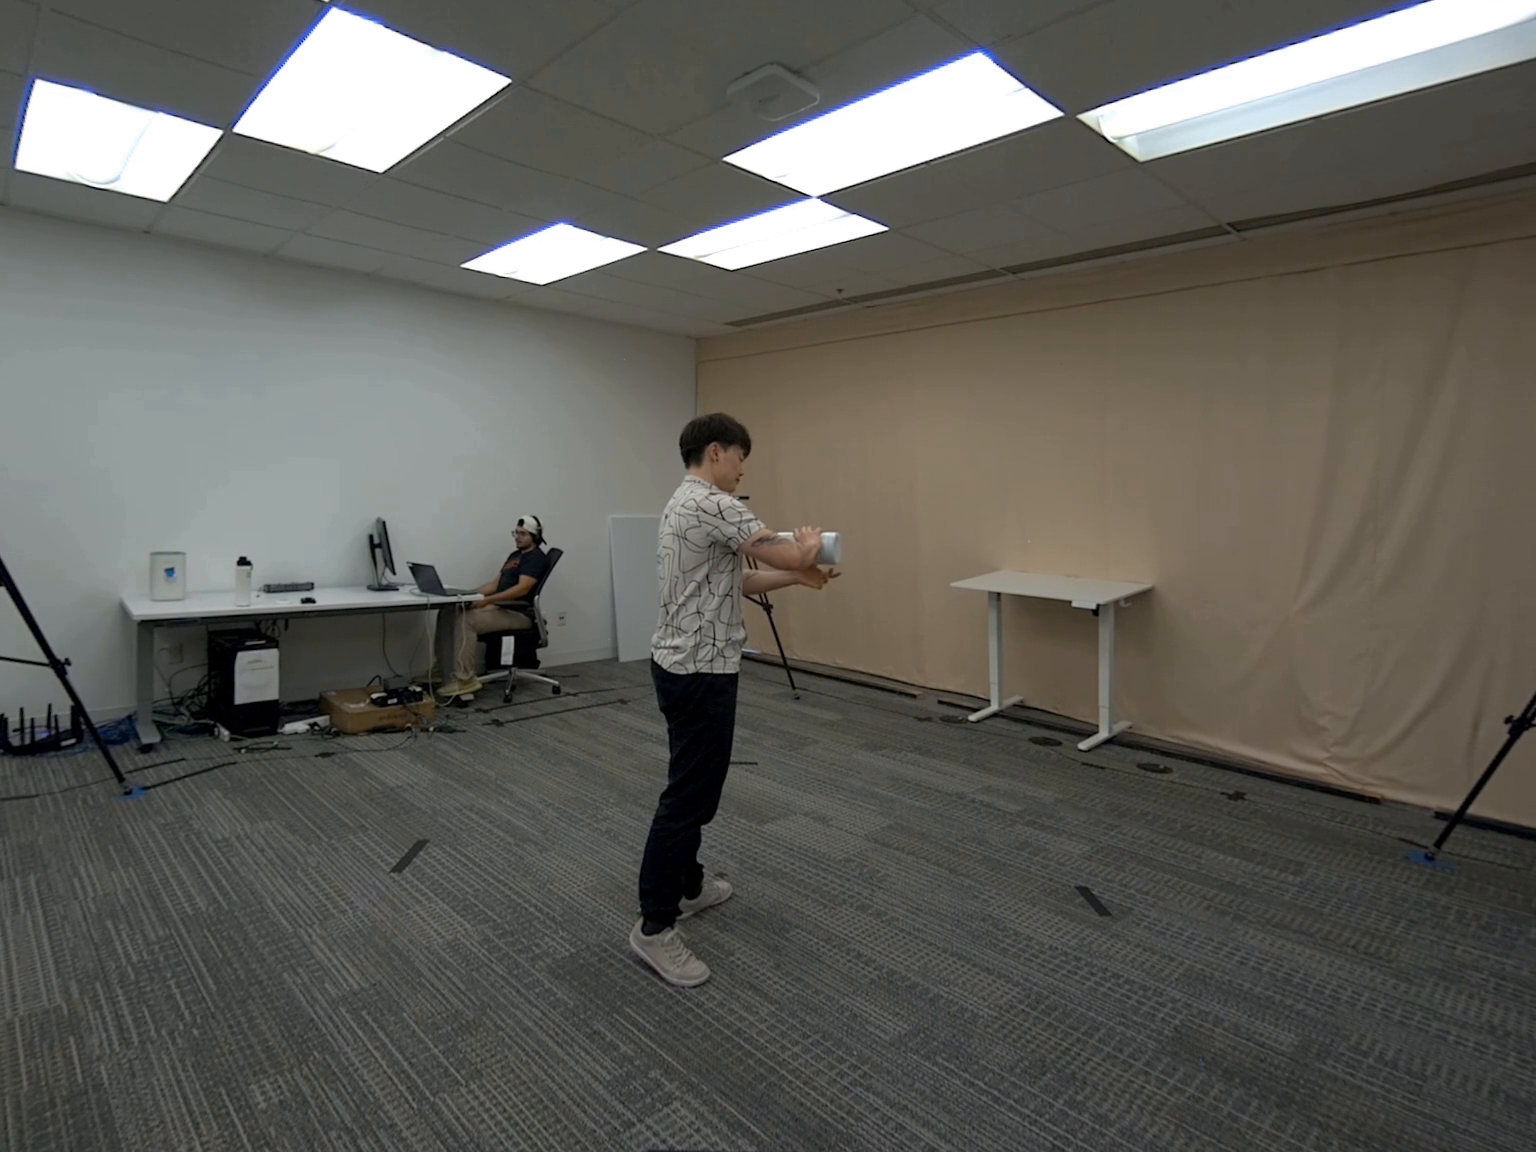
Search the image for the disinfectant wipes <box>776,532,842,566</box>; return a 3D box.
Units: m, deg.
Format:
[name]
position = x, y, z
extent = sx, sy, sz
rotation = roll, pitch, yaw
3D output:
[disinfectant wipes]
position = 0.125, -0.093, 2.851
extent = 0.221, 0.117, 0.116
rotation = -2, 3, 21
